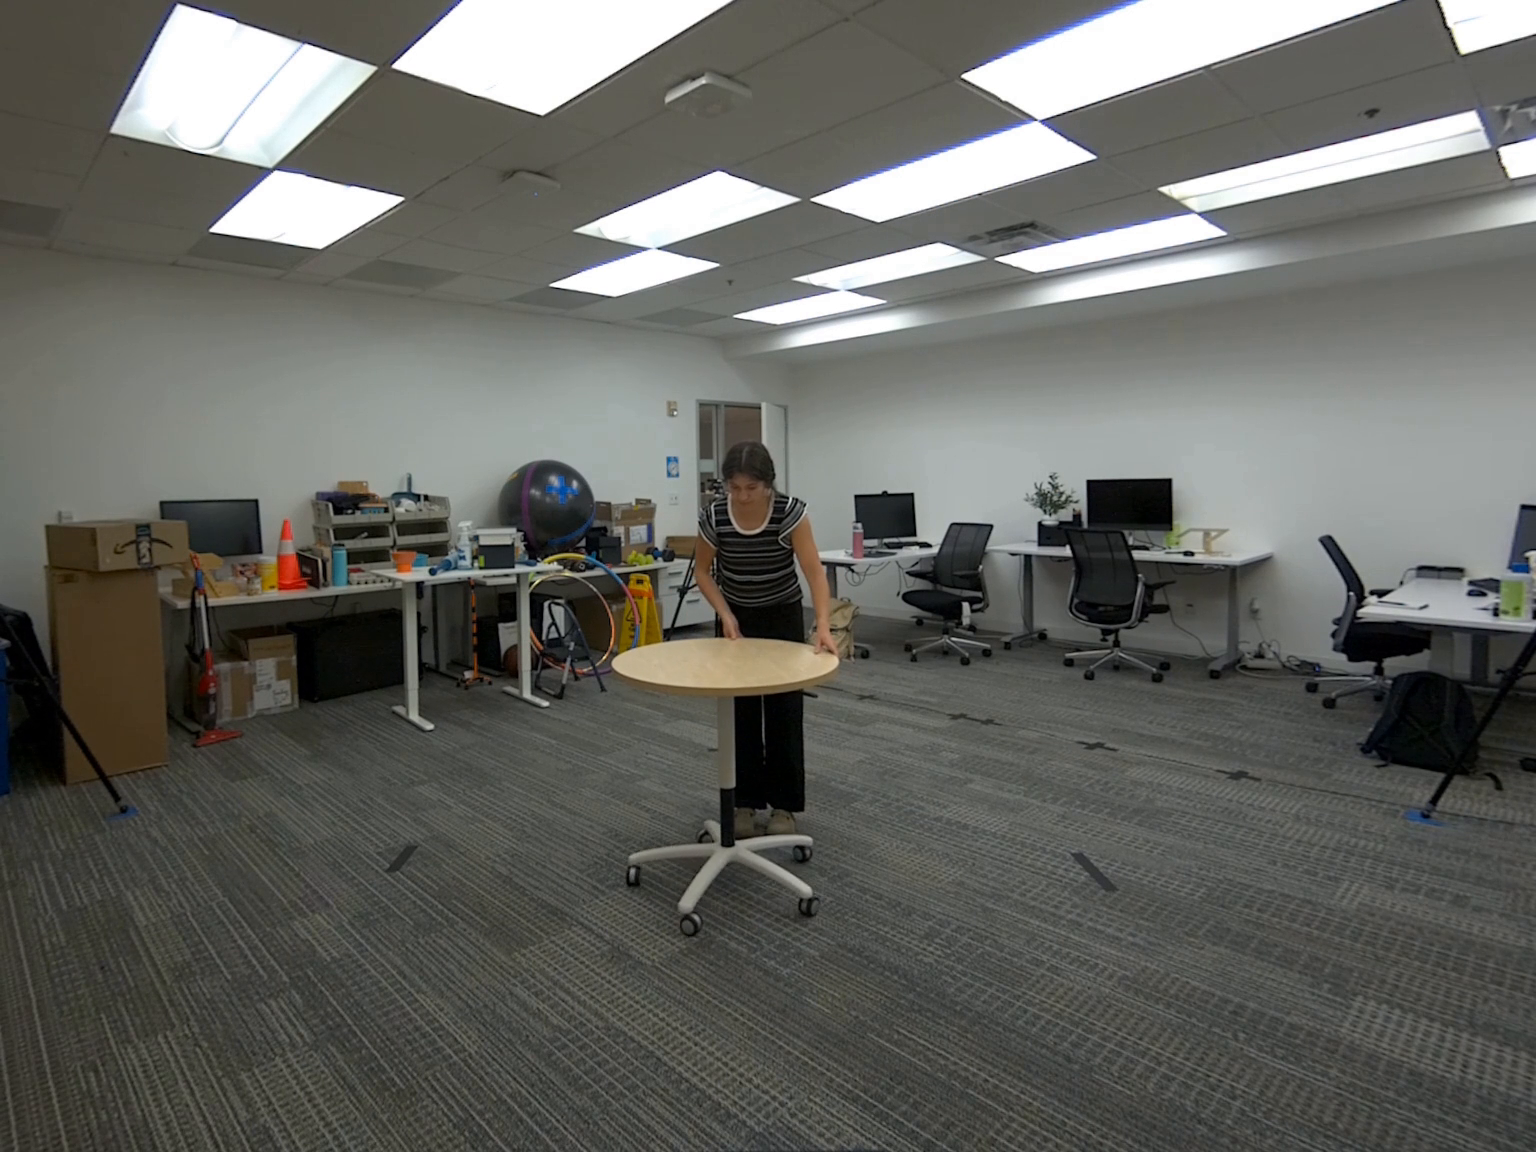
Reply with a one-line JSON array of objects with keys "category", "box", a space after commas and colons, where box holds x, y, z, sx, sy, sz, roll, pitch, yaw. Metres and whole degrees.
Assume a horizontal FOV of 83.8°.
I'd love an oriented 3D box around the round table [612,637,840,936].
[{"category": "round table", "box": [-0.147, 0.677, 2.904, 0.784, 0.783, 0.789, -1, 5, -2]}]
